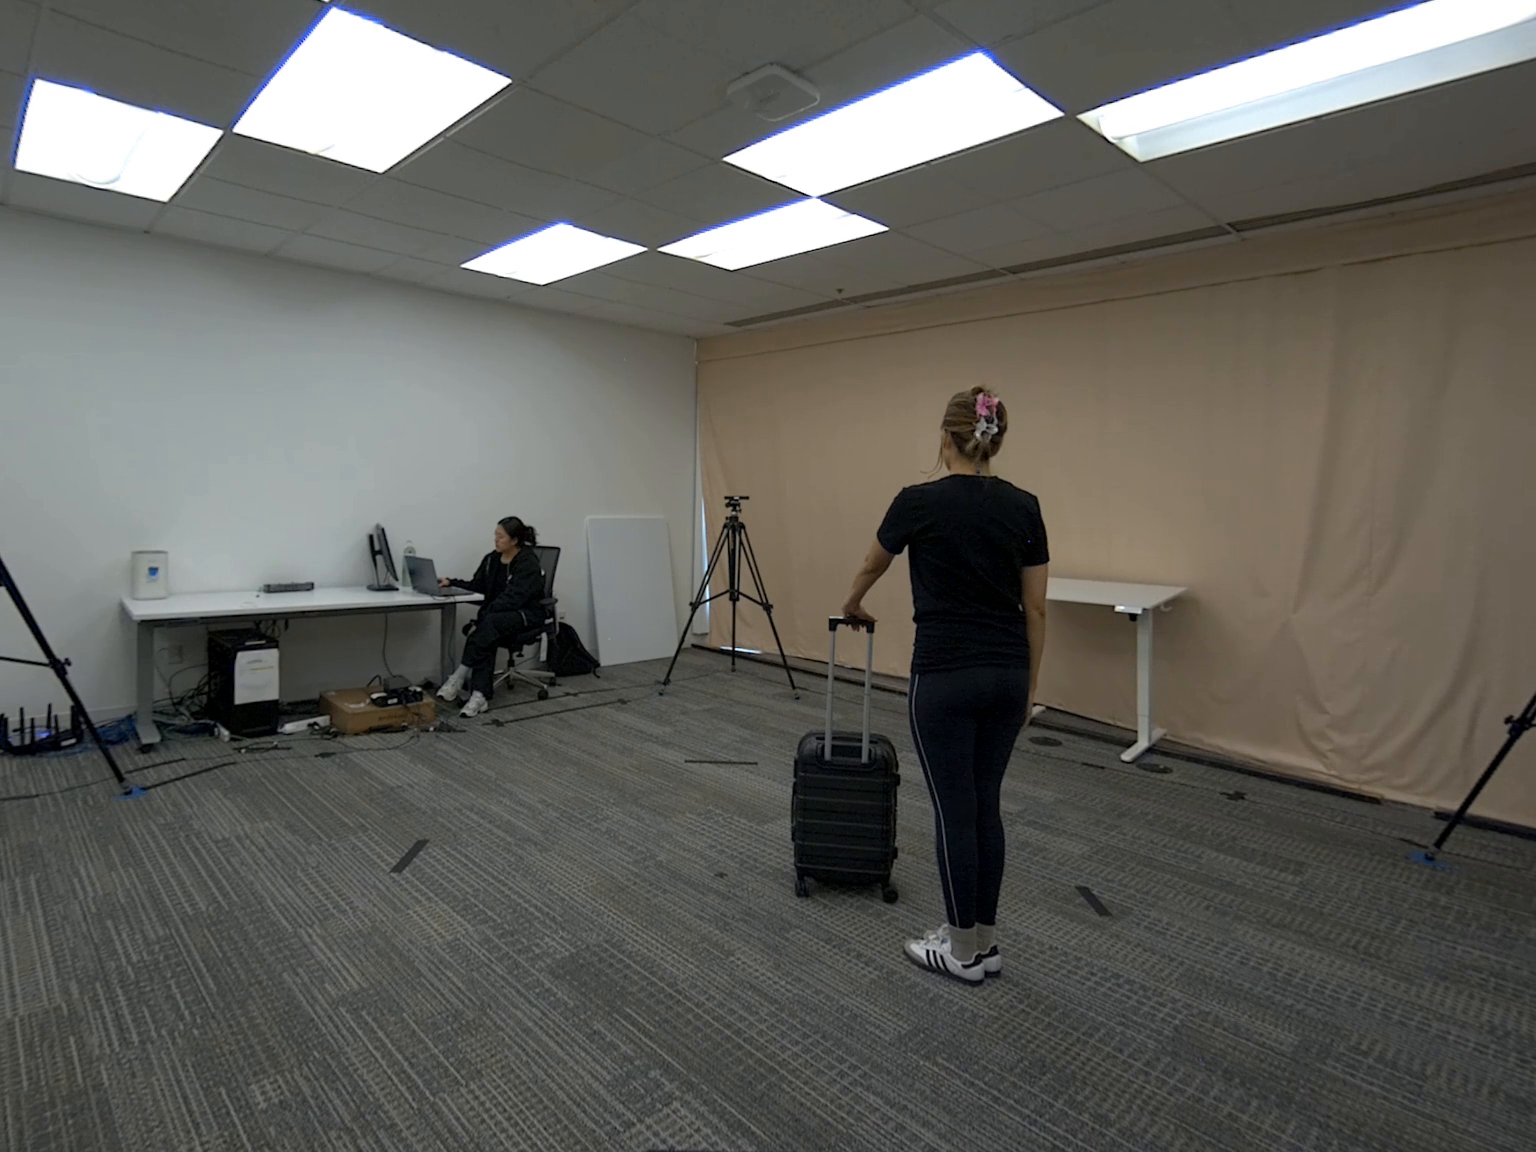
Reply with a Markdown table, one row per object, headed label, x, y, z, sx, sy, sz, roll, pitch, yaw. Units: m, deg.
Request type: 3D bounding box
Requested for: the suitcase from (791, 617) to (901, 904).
| label | x | y | z | sx | sy | sz | roll | pitch | yaw |
| --- | --- | --- | --- | --- | --- | --- | --- | --- | --- |
| suitcase | 0.278 | 0.641 | 3.043 | 0.386 | 0.978 | 0.256 | 2 | 1 | 6 |
